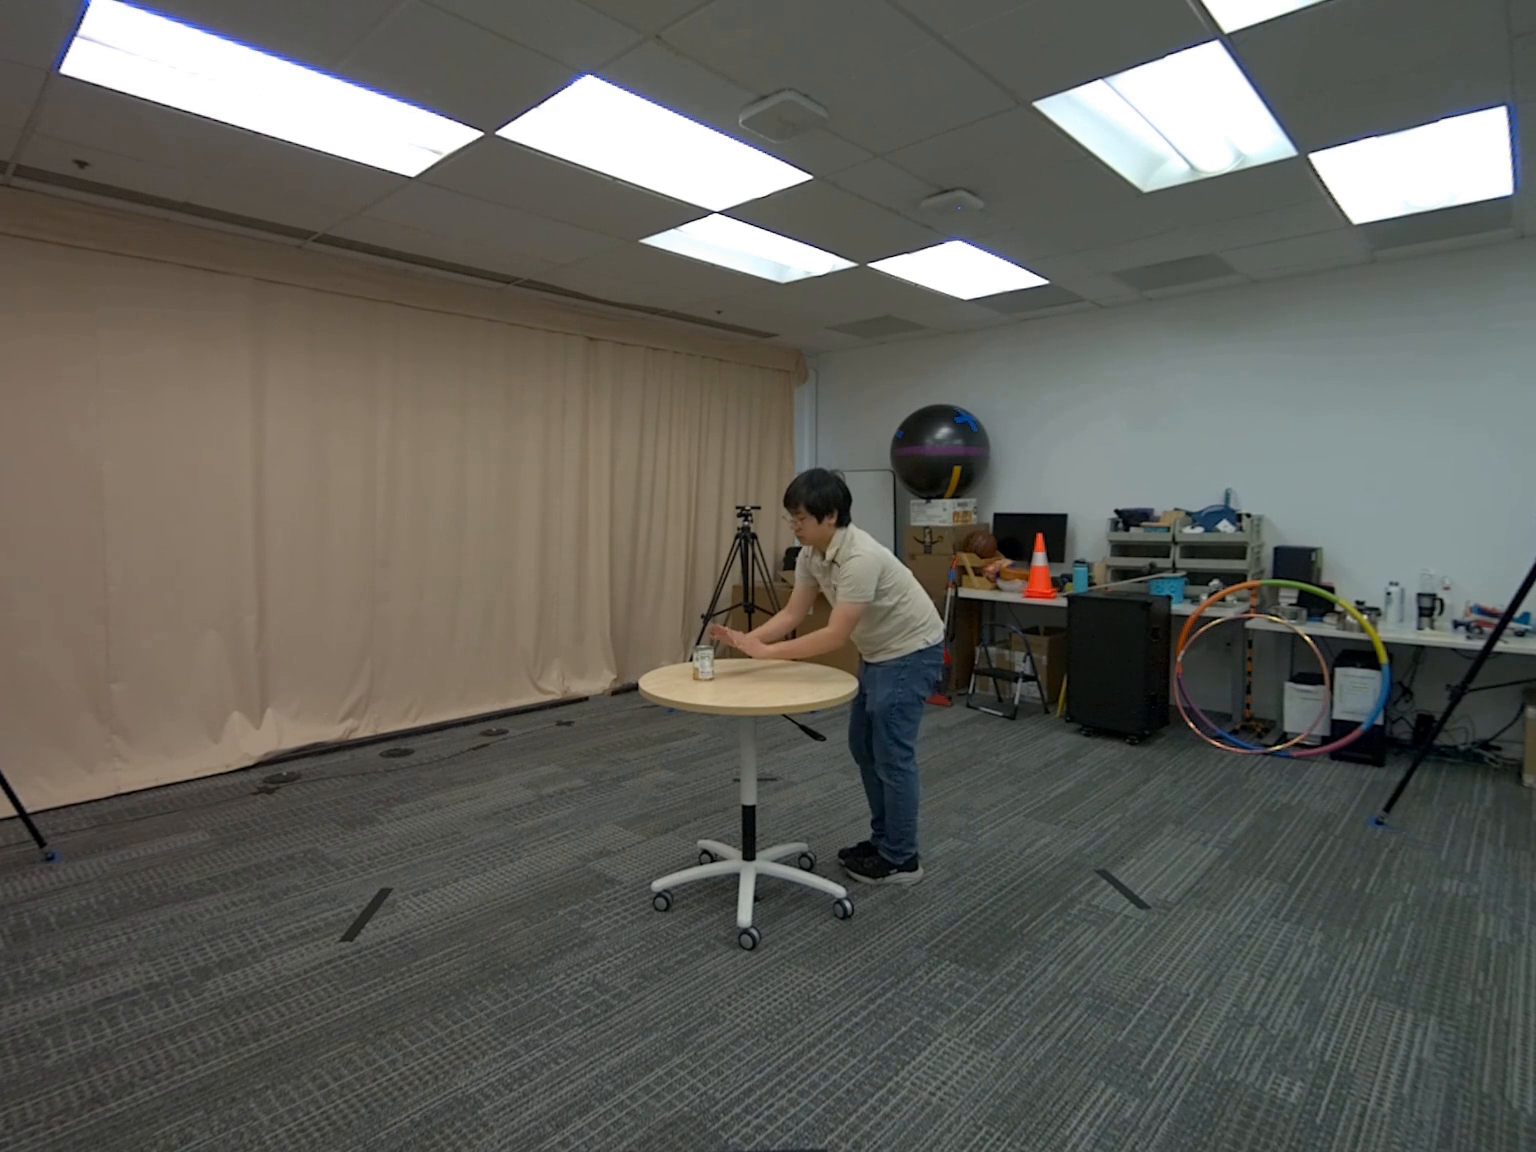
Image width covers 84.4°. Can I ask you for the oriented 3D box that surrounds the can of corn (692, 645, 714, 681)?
[{"bbox_3d":[-0.217,0.309,2.966,0.074,0.111,0.074,0,2,-2],"label":"can of corn"}]
